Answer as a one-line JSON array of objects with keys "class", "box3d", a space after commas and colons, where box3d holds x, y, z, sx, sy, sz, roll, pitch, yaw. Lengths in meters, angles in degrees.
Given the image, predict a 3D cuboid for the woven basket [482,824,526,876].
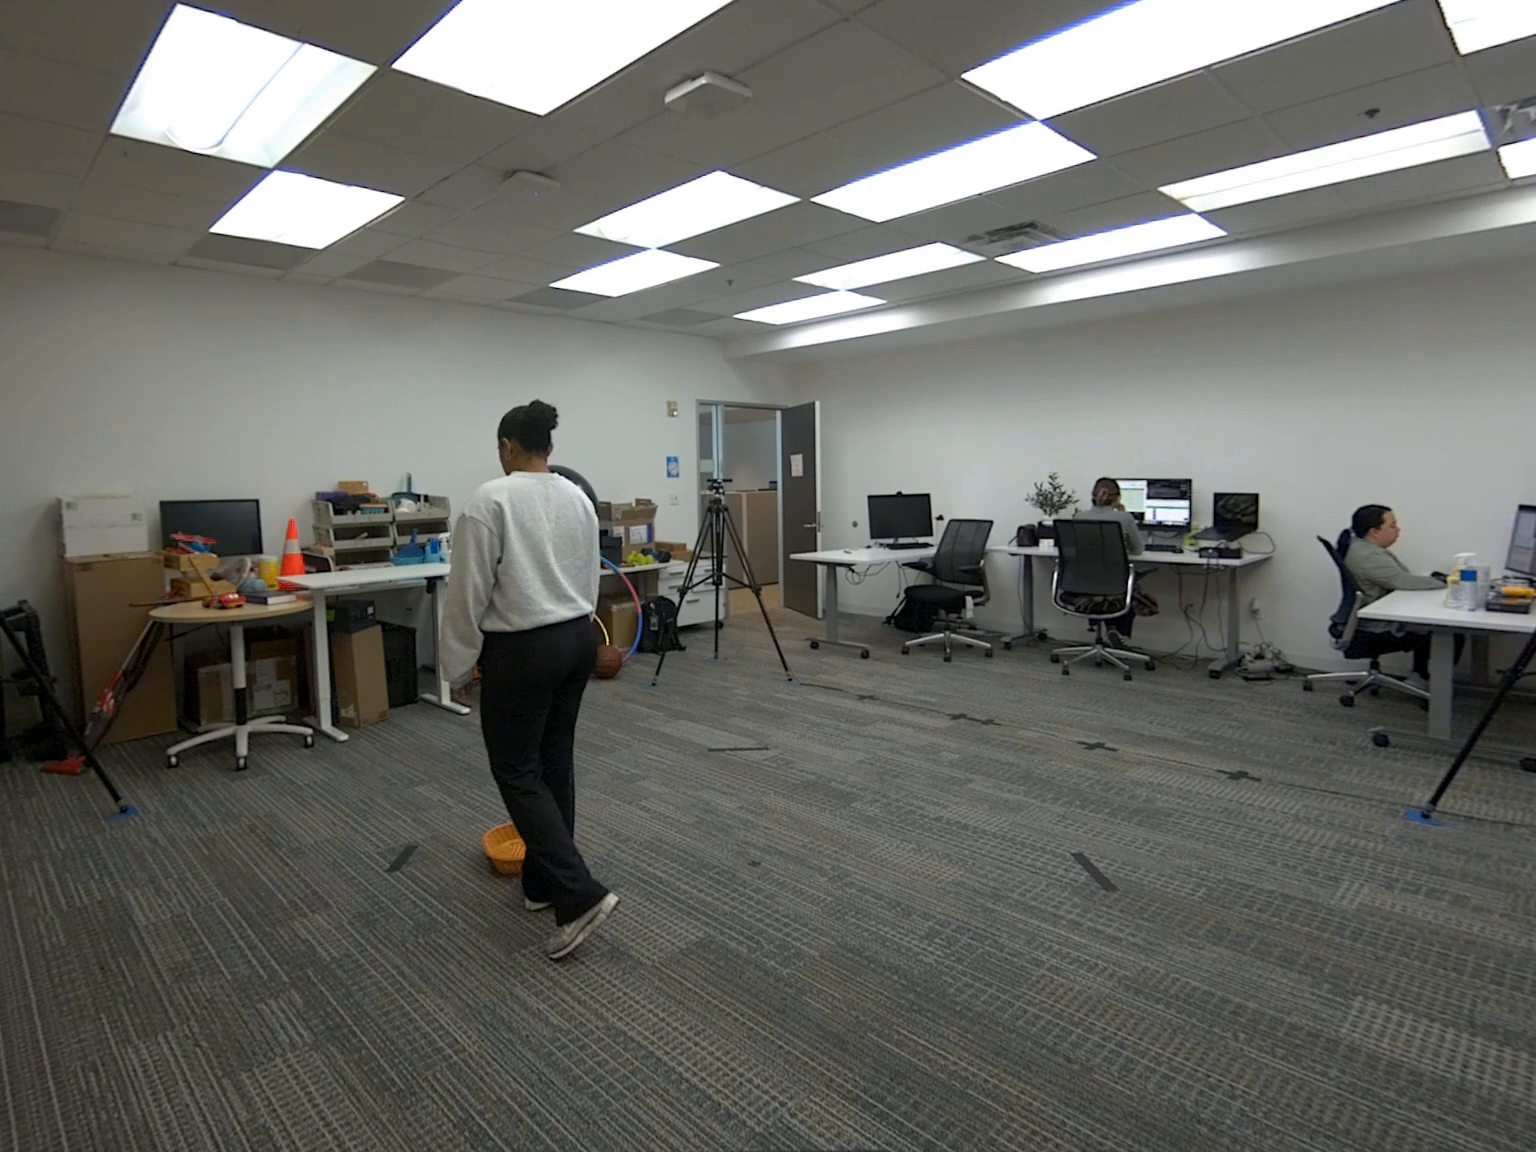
[{"class": "woven basket", "box3d": [-0.925, 1.014, 3.193, 0.248, 0.073, 0.358, -3, 7, -18]}]
